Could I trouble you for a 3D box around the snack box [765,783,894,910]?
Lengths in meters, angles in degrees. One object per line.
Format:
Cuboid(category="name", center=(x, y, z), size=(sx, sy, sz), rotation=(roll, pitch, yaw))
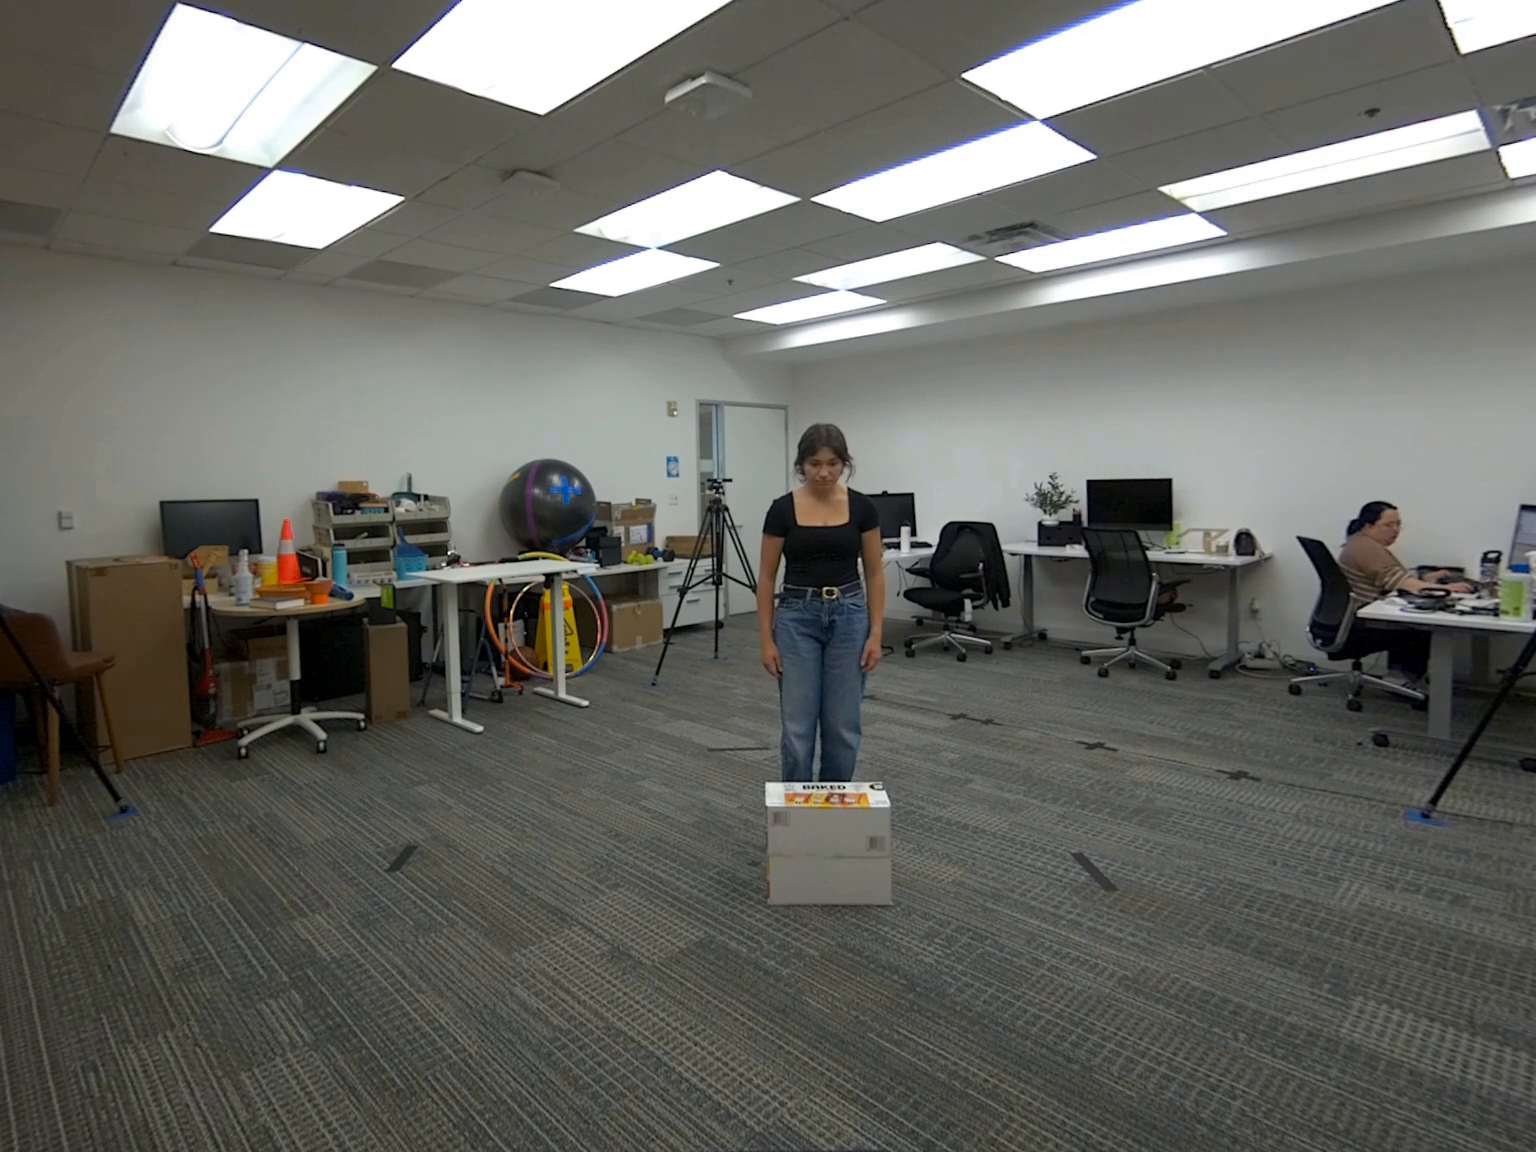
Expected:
Cuboid(category="snack box", center=(0.197, 0.897, 2.868), size=(0.406, 0.339, 0.206), rotation=(-1, 5, 2))
